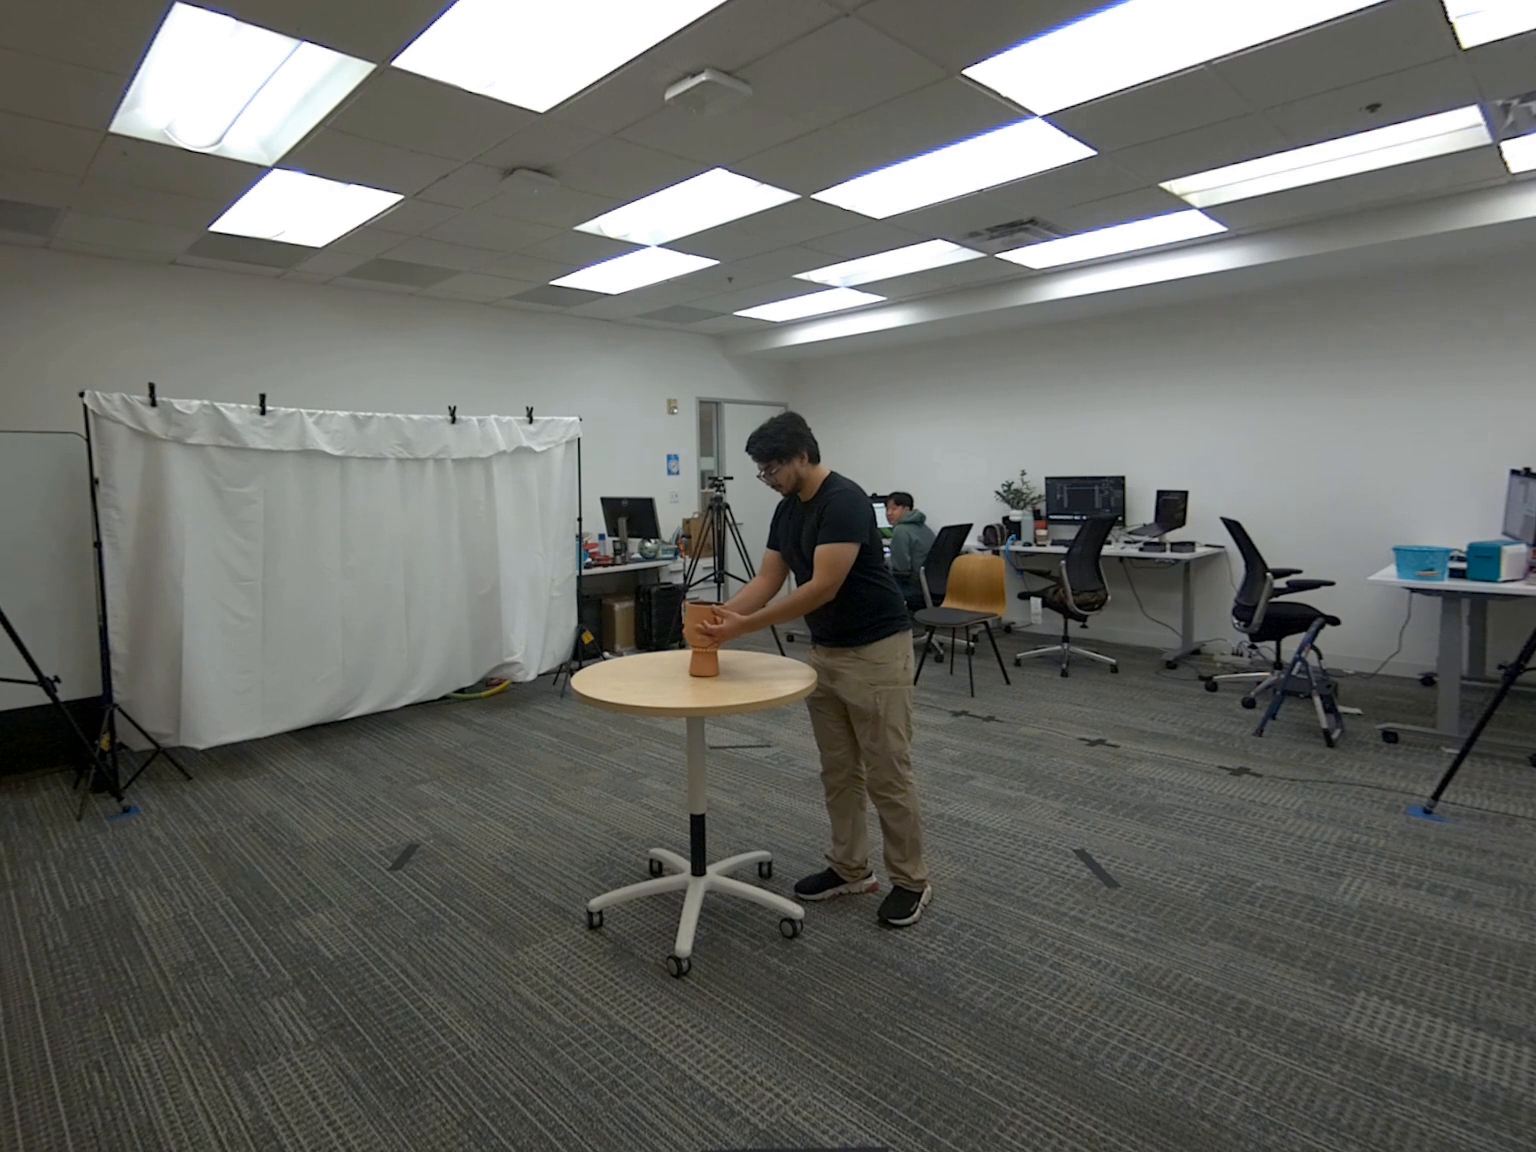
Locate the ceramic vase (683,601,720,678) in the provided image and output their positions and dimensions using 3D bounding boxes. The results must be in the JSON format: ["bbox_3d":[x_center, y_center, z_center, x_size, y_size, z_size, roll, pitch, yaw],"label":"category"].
[{"bbox_3d":[-0.193,0.198,2.675,0.134,0.219,0.159,2,2,-3],"label":"ceramic vase"}]
